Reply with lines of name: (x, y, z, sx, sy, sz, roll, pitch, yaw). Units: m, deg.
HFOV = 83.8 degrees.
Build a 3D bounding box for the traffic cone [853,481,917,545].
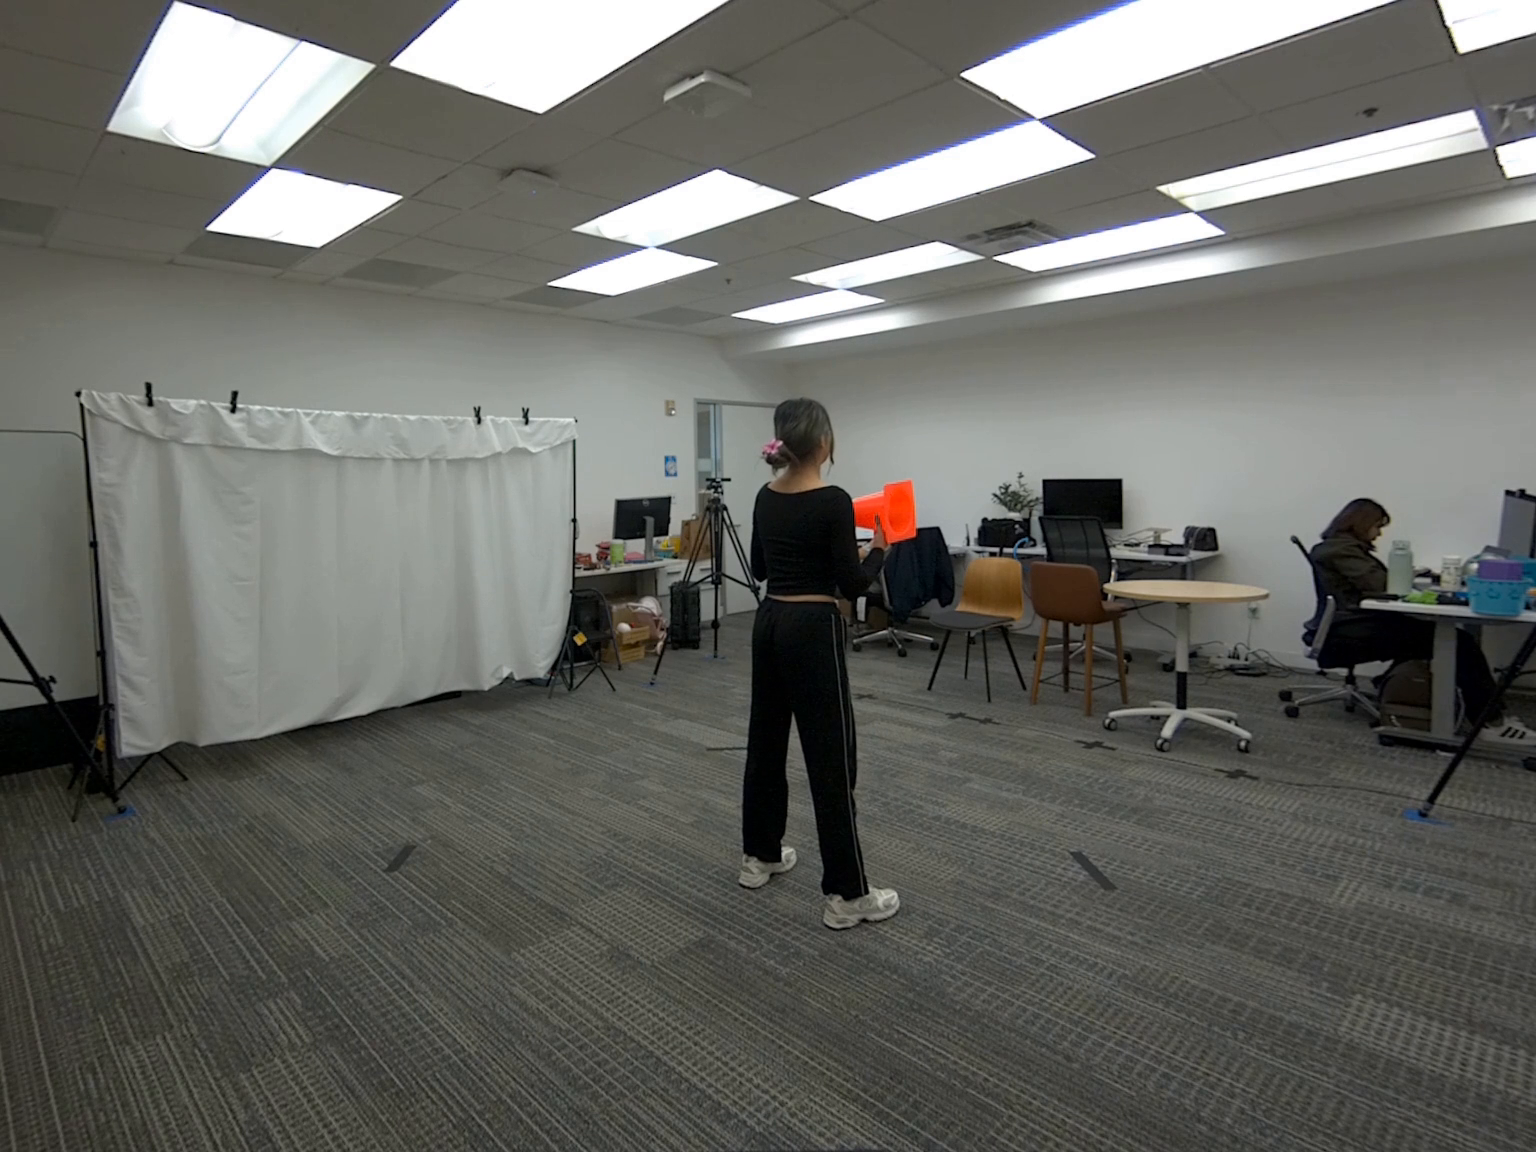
traffic cone: (0.304, -0.227, 3.020, 0.395, 0.203, 0.199, 3, 12, 43)
